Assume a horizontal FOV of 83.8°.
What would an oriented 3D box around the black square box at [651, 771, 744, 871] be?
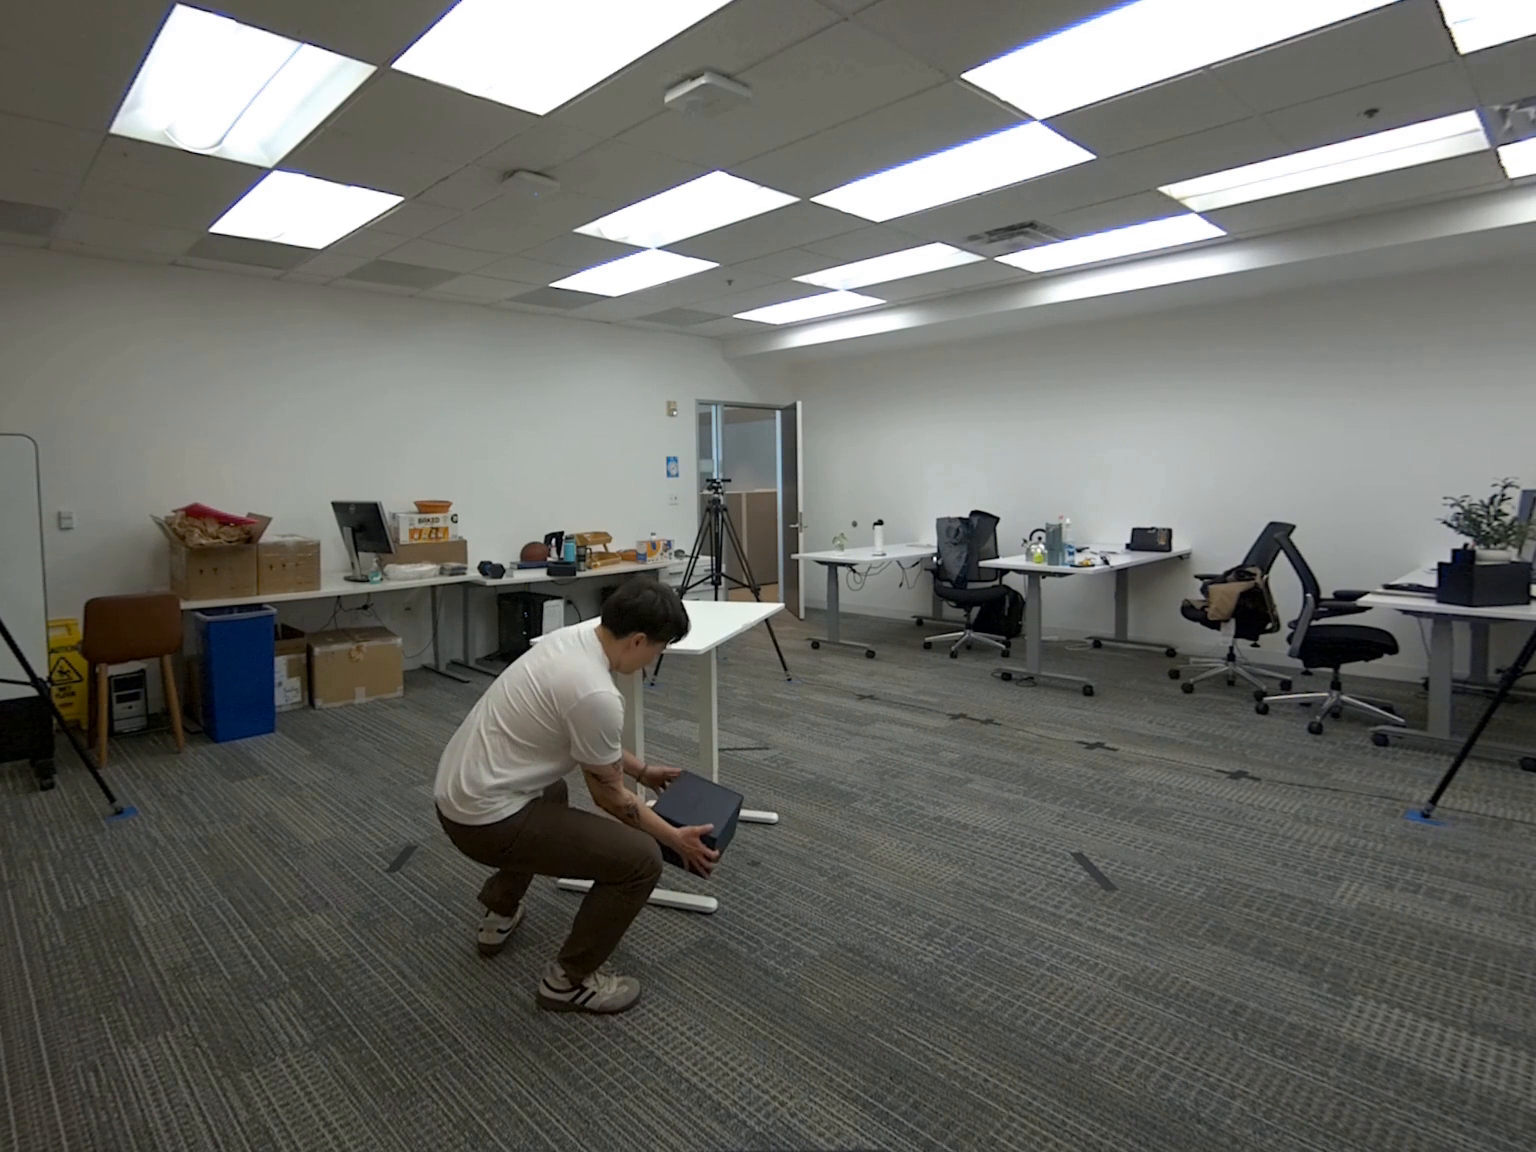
[{"bbox_3d":[-0.209,0.730,2.556,0.219,0.154,0.228,15,19,9],"label":"black square box"}]
